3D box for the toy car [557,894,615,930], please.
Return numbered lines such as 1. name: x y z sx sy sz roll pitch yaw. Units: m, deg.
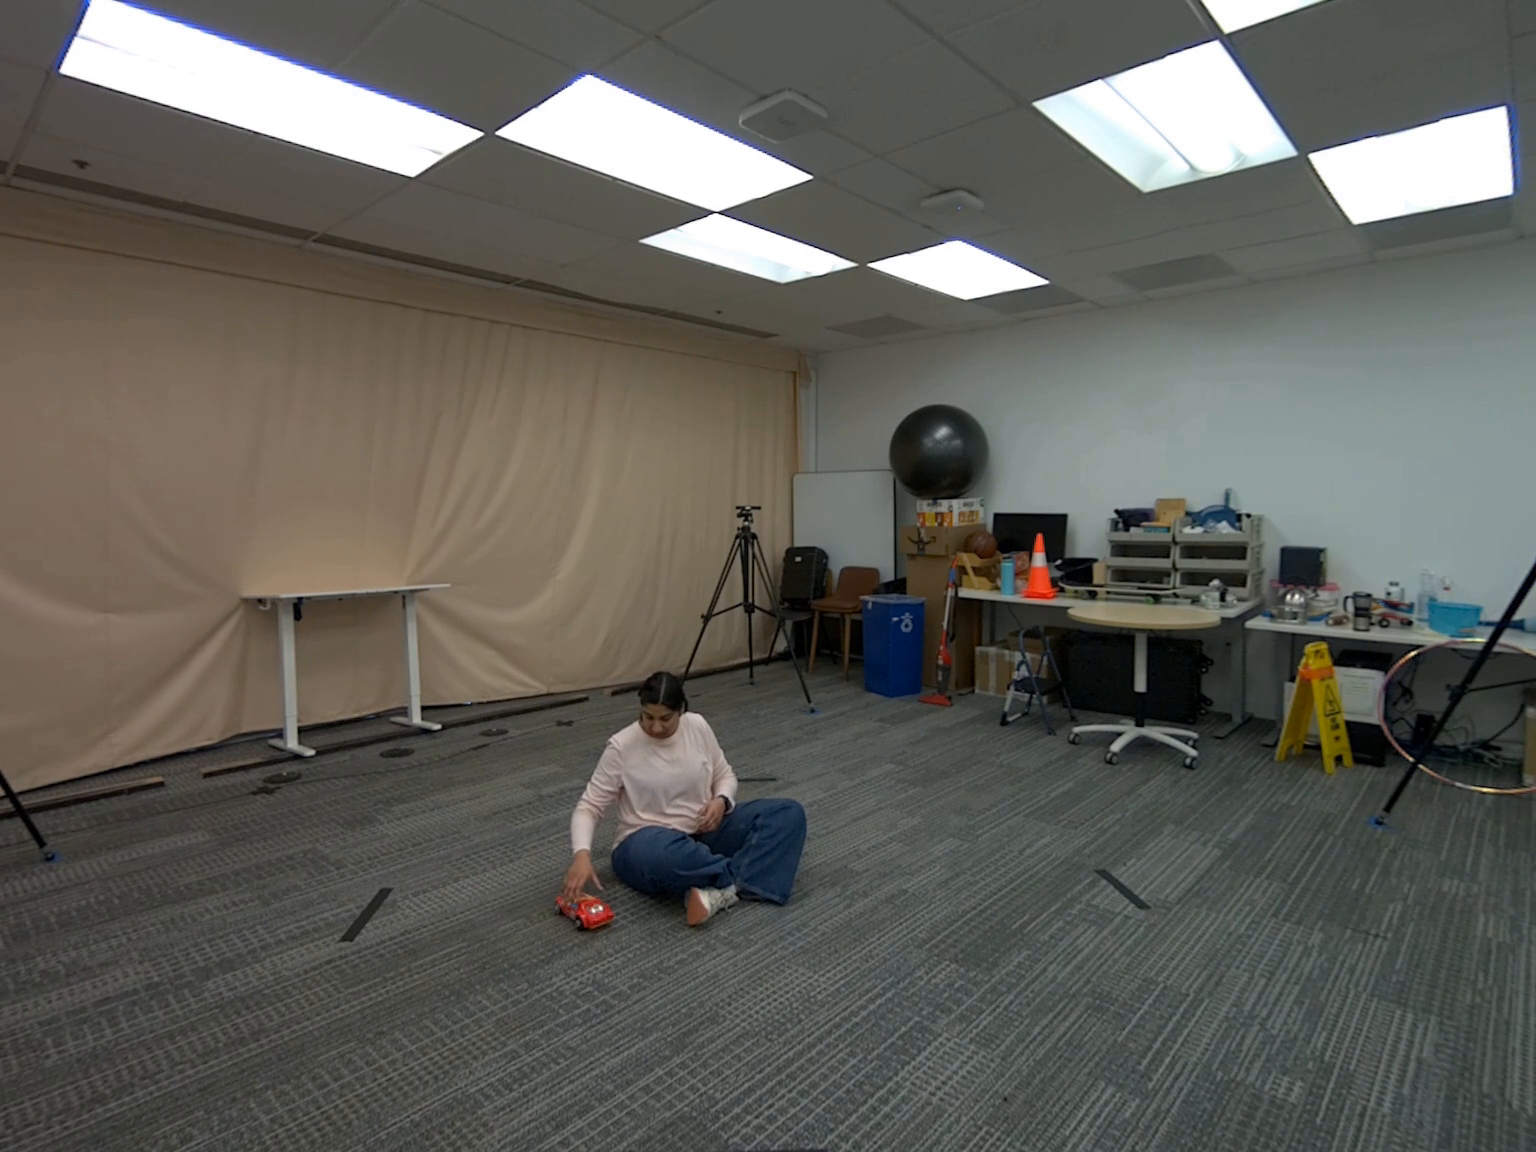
1. toy car: -0.614 1.125 2.840 0.126 0.083 0.261 -5 -5 -41
